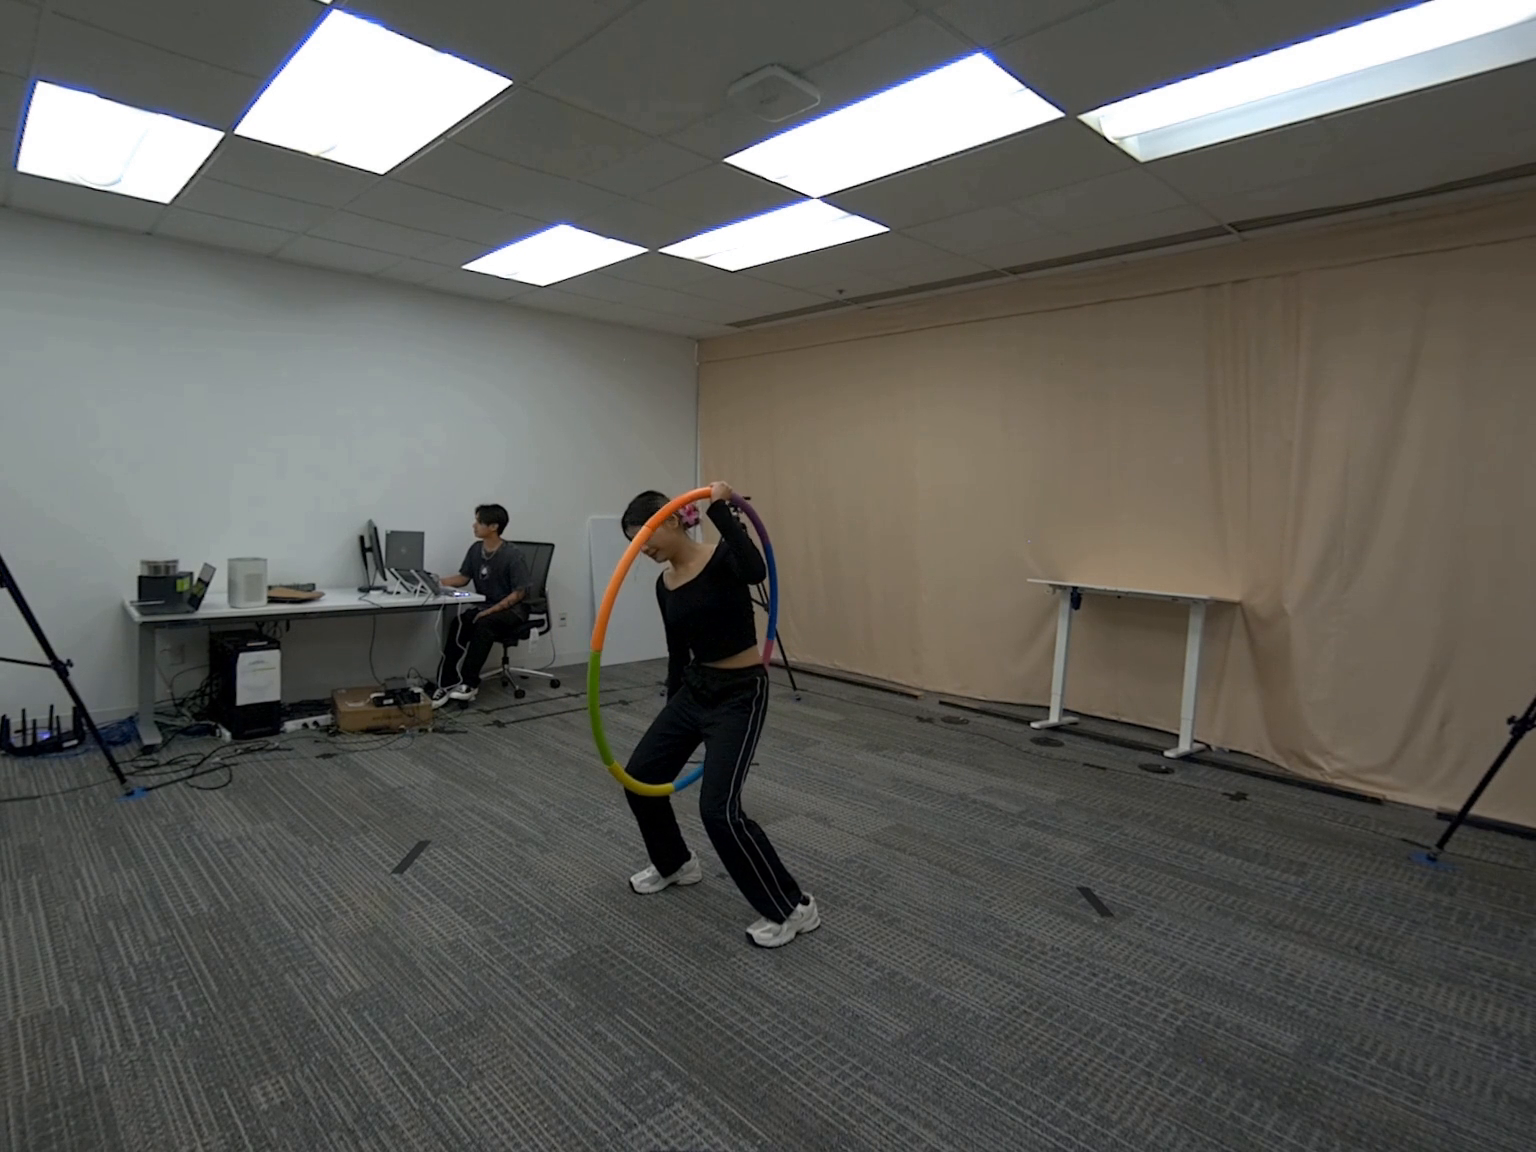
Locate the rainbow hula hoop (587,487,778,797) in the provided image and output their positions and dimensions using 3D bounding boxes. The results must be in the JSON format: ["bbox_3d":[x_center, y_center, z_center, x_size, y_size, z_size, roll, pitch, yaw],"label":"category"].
[{"bbox_3d":[-0.228,0.205,2.687,0.036,0.974,0.959,13,10,31],"label":"rainbow hula hoop"}]
